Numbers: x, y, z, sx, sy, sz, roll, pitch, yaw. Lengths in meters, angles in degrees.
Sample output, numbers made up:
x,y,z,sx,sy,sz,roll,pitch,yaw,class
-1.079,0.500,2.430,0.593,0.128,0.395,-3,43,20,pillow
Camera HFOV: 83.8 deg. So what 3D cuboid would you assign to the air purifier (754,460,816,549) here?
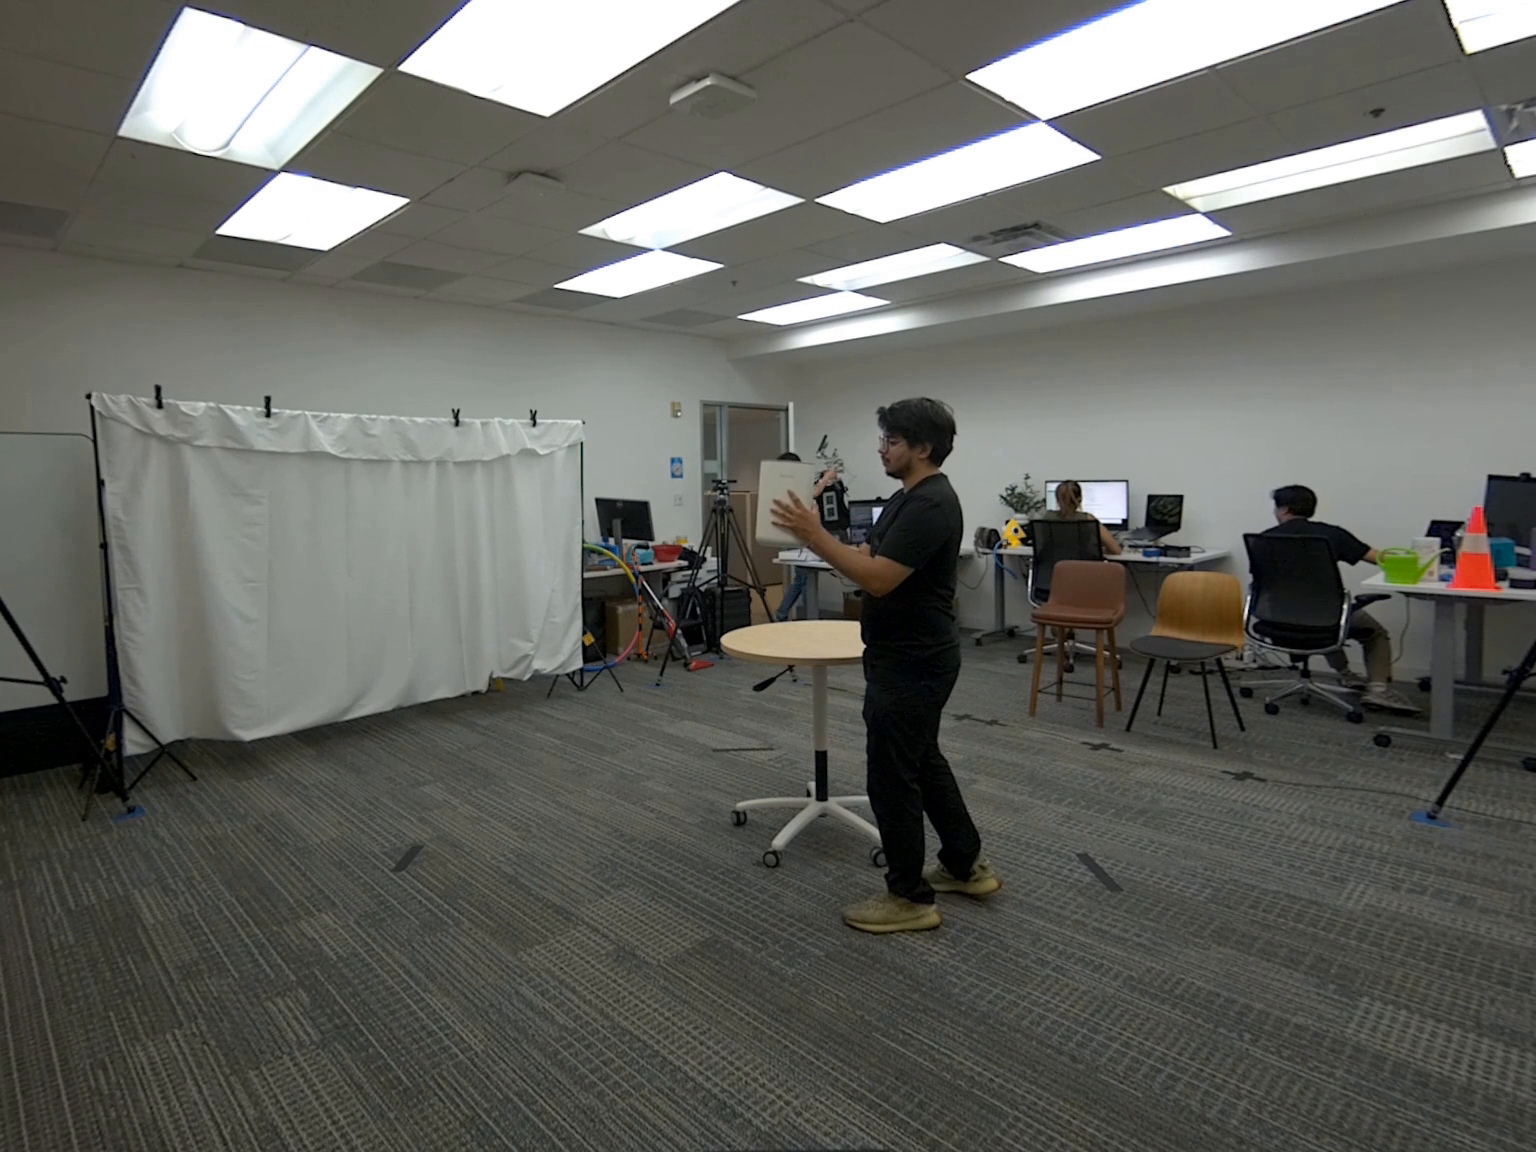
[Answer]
x,y,z,sx,sy,sz,roll,pitch,yaw,class
0.062,-0.226,2.695,0.171,0.265,0.171,5,1,2,air purifier
